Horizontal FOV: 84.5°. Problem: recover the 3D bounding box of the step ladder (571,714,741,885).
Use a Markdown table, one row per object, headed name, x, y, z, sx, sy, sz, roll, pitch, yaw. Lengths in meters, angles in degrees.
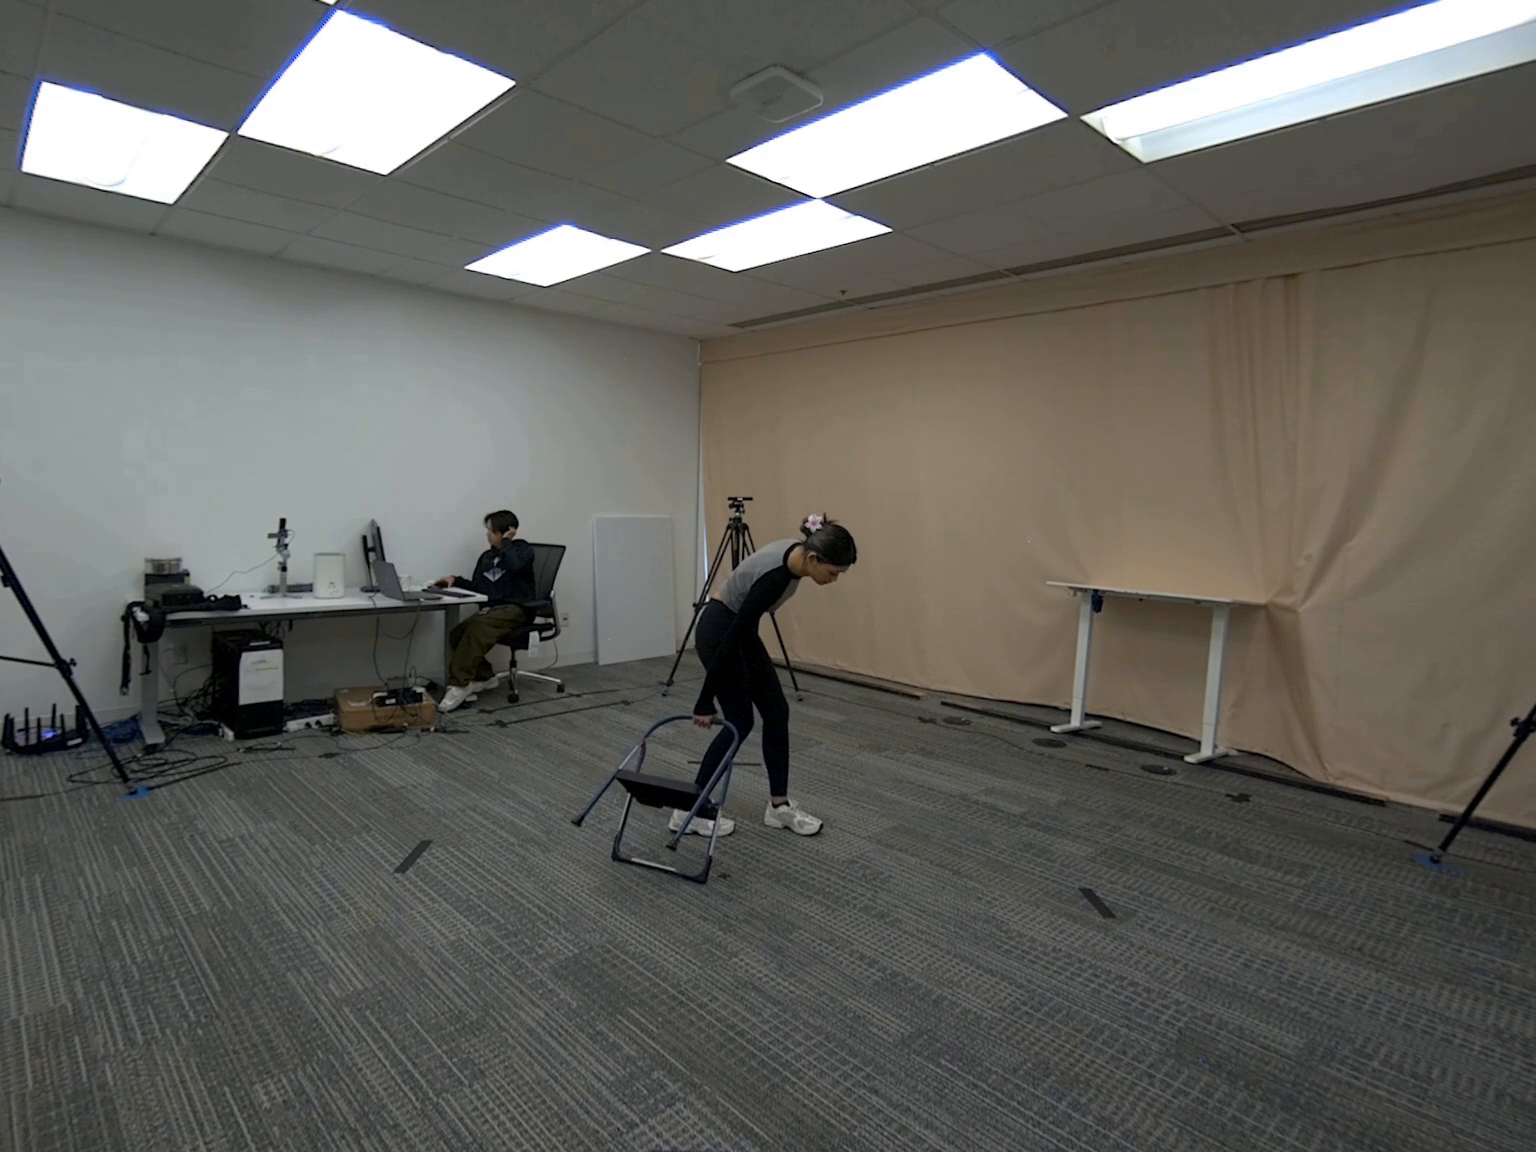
| name | x | y | z | sx | sy | sz | roll | pitch | yaw |
| --- | --- | --- | --- | --- | --- | --- | --- | --- | --- |
| step ladder | -0.375 | 0.767 | 3.178 | 0.439 | 0.612 | 0.339 | 4 | -39 | 26 |
